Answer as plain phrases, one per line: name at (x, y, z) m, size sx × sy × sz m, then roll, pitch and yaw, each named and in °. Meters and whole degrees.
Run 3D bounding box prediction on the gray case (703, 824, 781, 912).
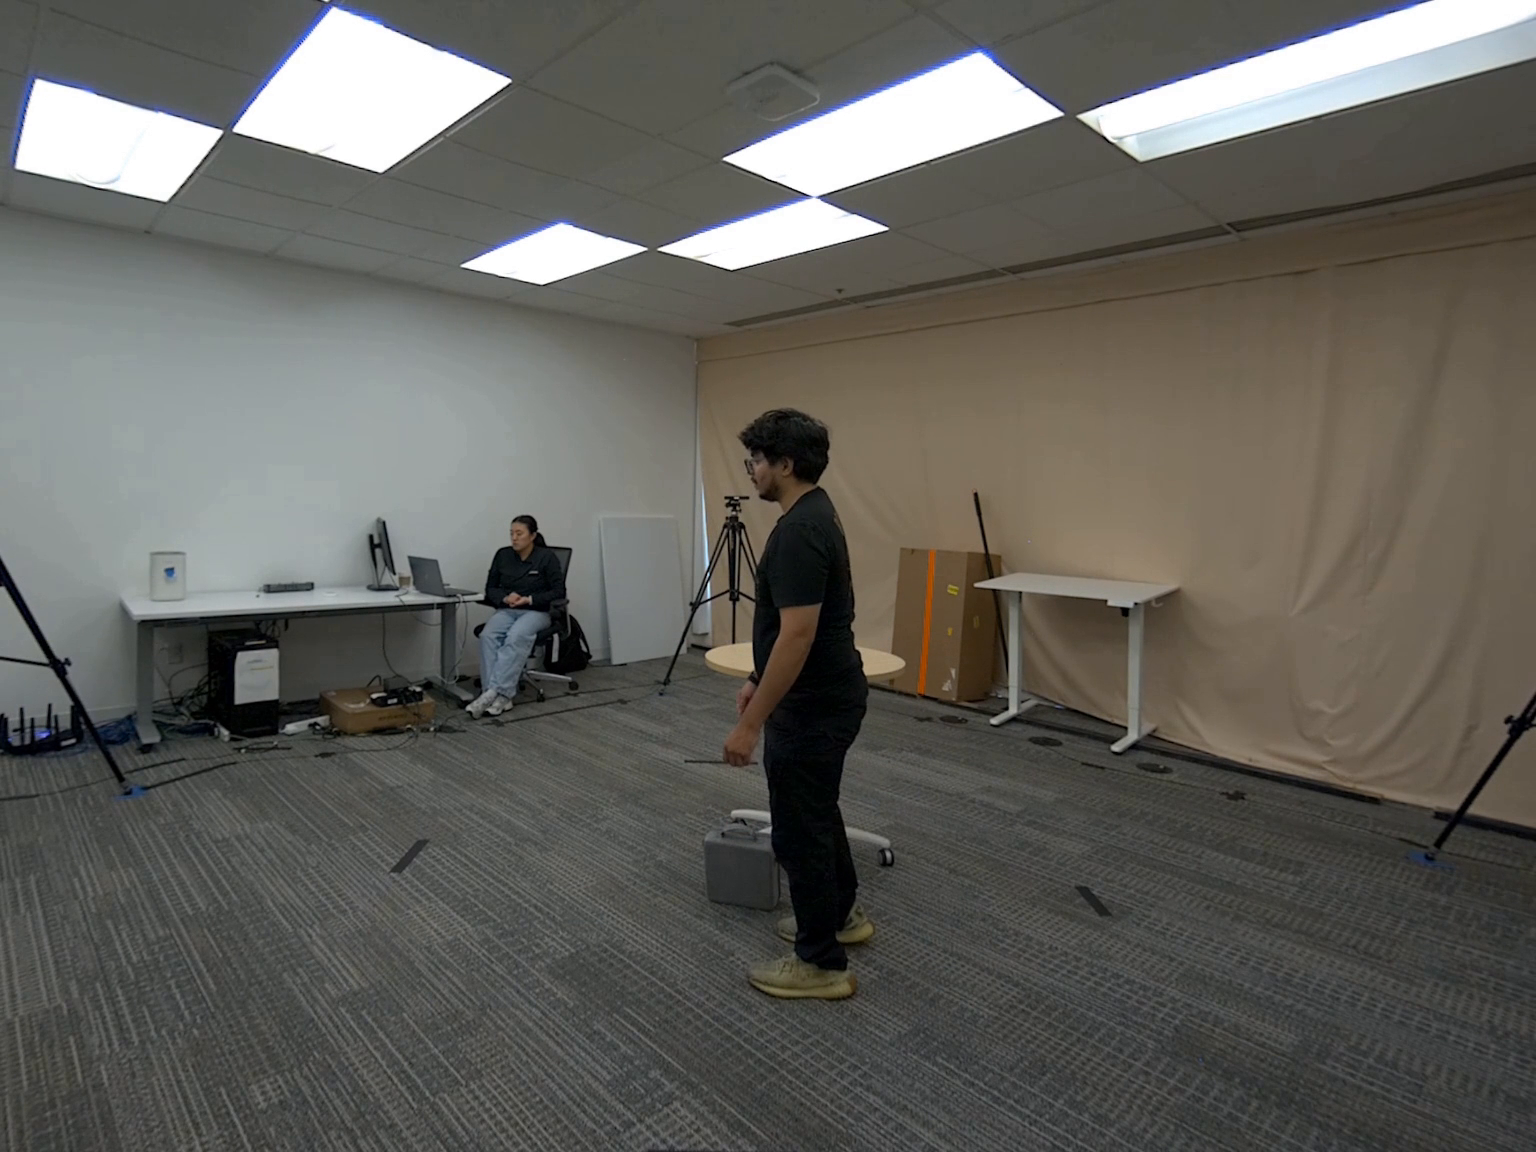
gray case at (-0.091, 0.992, 2.875) m, size 0.260 × 0.258 × 0.104 m, roll 1°, pitch 14°, yaw 18°
